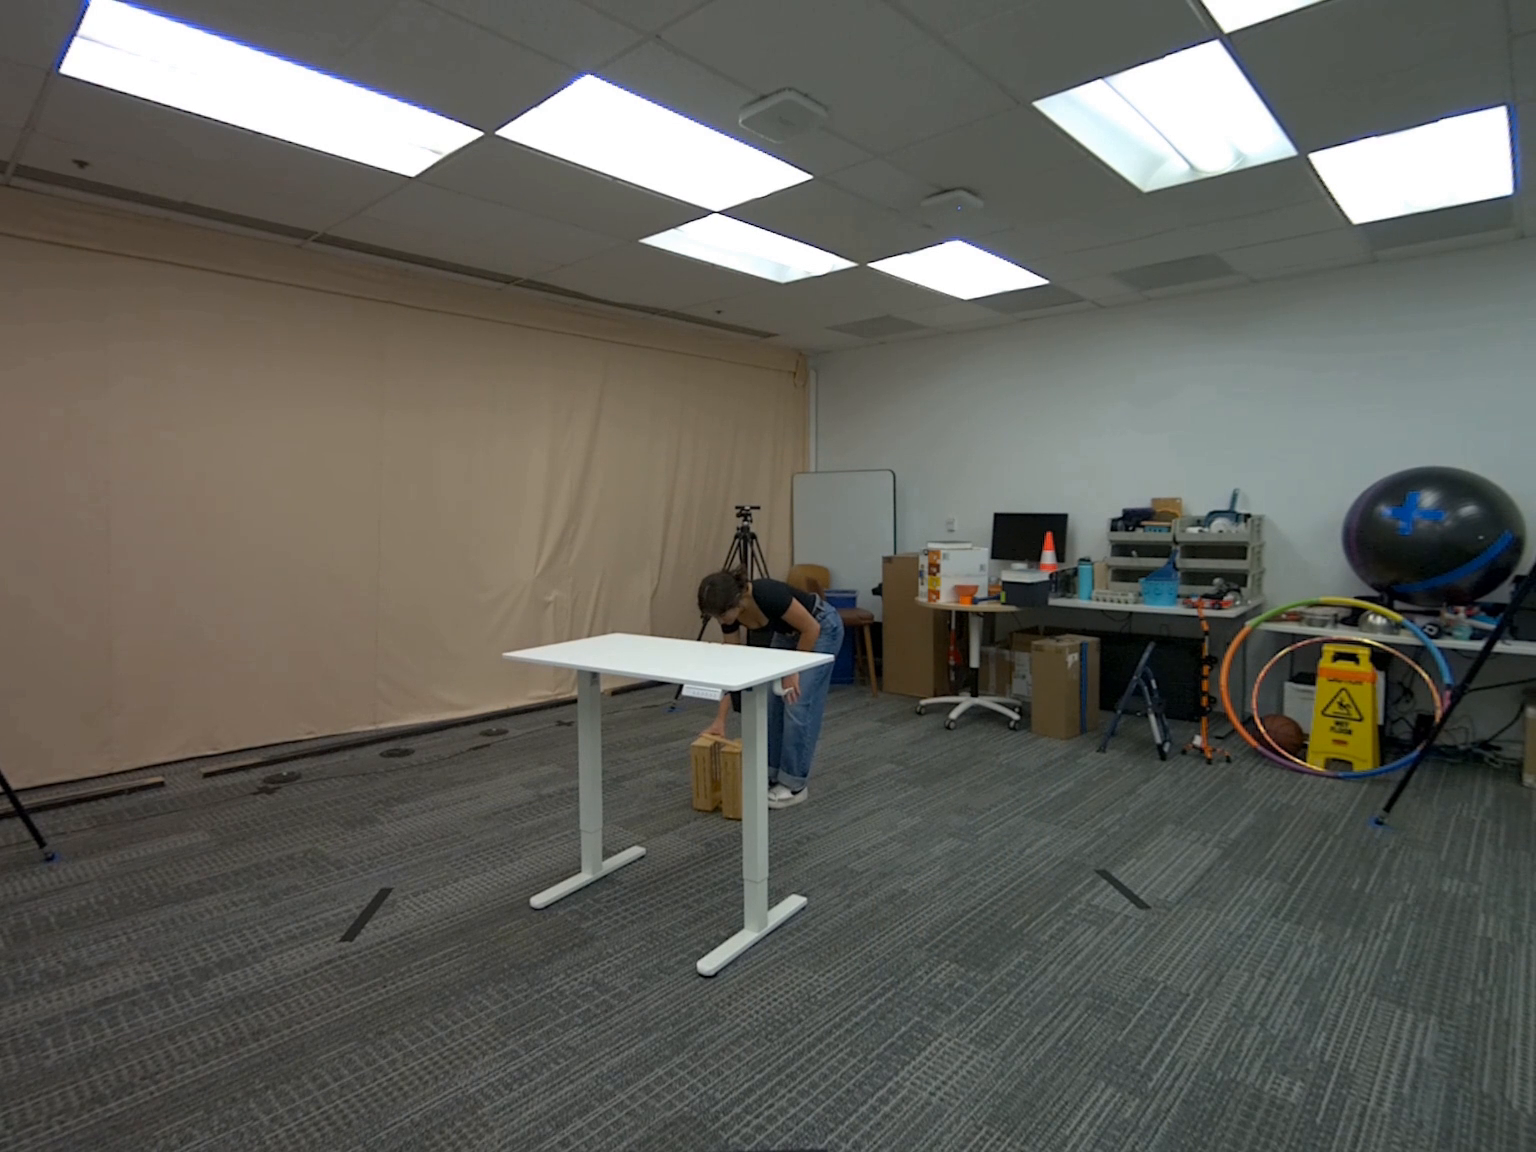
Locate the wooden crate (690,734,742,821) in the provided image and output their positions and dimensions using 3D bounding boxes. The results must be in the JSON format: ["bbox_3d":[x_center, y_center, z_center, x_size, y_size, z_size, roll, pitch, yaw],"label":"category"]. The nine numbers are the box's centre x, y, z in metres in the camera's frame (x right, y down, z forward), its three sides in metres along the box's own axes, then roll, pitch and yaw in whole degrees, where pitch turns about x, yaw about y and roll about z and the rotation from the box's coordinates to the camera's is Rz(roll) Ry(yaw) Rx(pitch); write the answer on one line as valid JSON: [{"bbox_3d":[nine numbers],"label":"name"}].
[{"bbox_3d":[-0.196,0.907,3.893,0.279,0.323,0.297,0,6,20],"label":"wooden crate"}]
